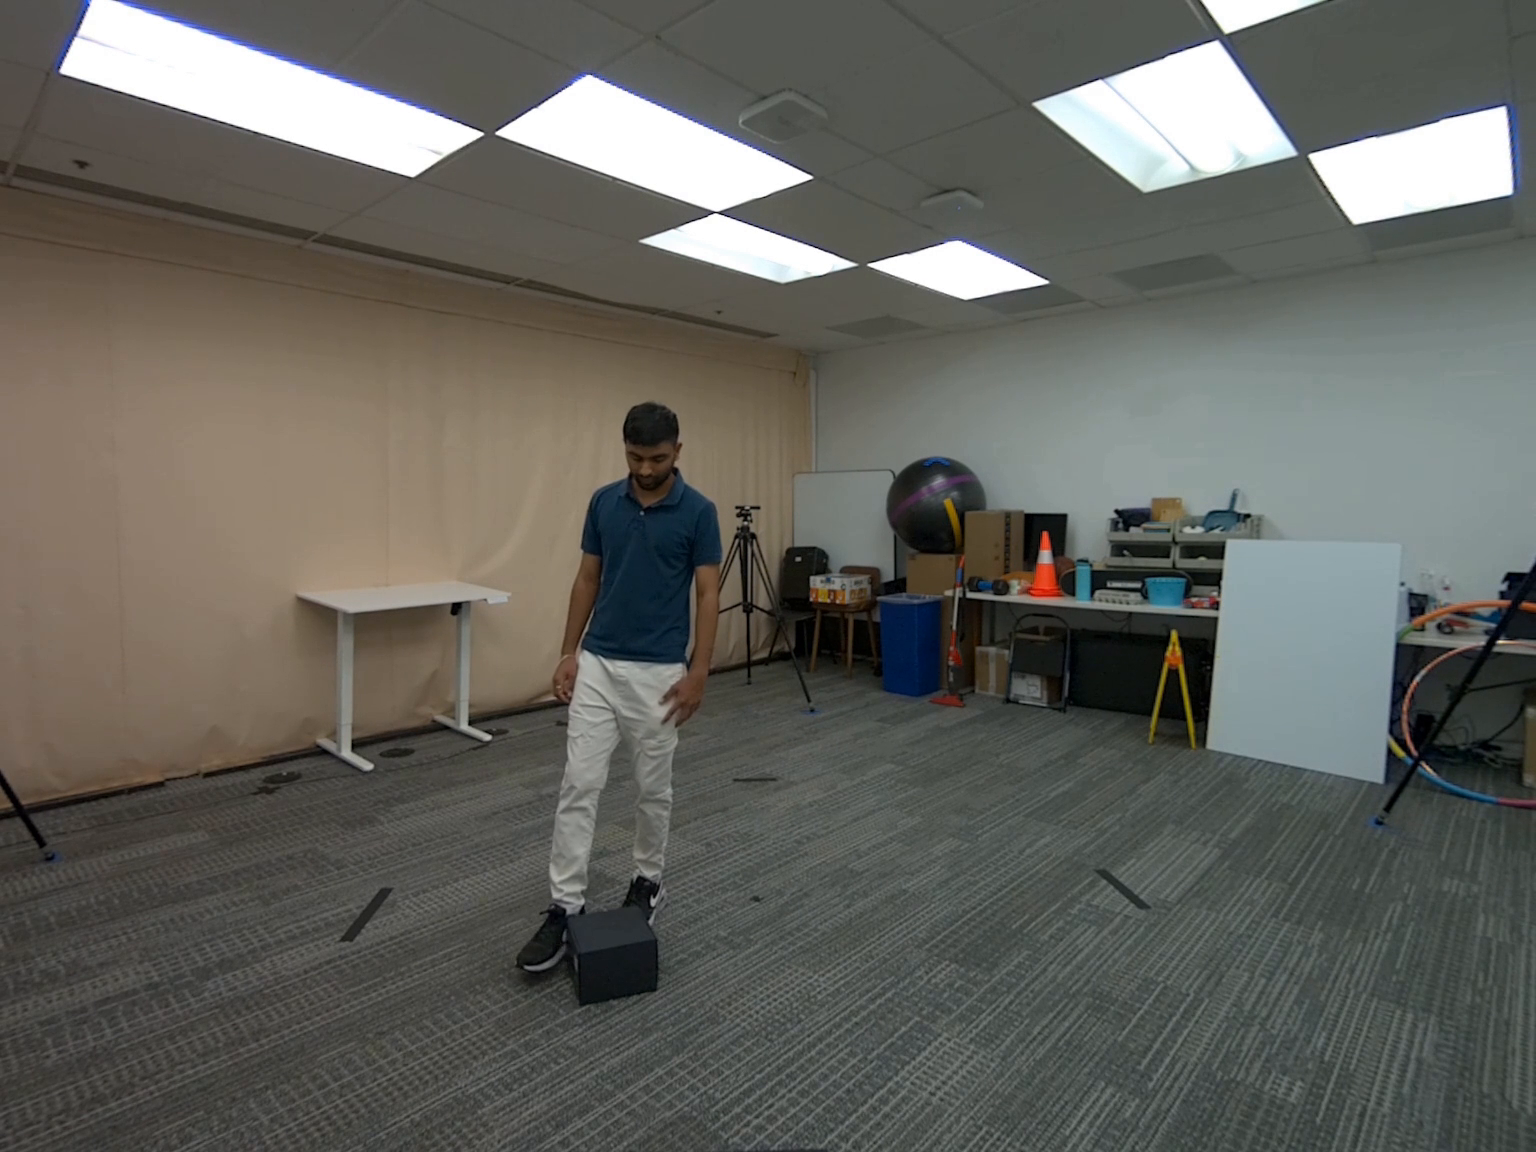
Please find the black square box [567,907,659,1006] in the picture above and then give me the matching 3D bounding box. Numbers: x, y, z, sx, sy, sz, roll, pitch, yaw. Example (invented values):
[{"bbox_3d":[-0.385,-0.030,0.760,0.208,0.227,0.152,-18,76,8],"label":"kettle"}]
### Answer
[{"bbox_3d":[-0.441,1.110,2.459,0.223,0.155,0.222,-2,4,-25],"label":"black square box"}]
